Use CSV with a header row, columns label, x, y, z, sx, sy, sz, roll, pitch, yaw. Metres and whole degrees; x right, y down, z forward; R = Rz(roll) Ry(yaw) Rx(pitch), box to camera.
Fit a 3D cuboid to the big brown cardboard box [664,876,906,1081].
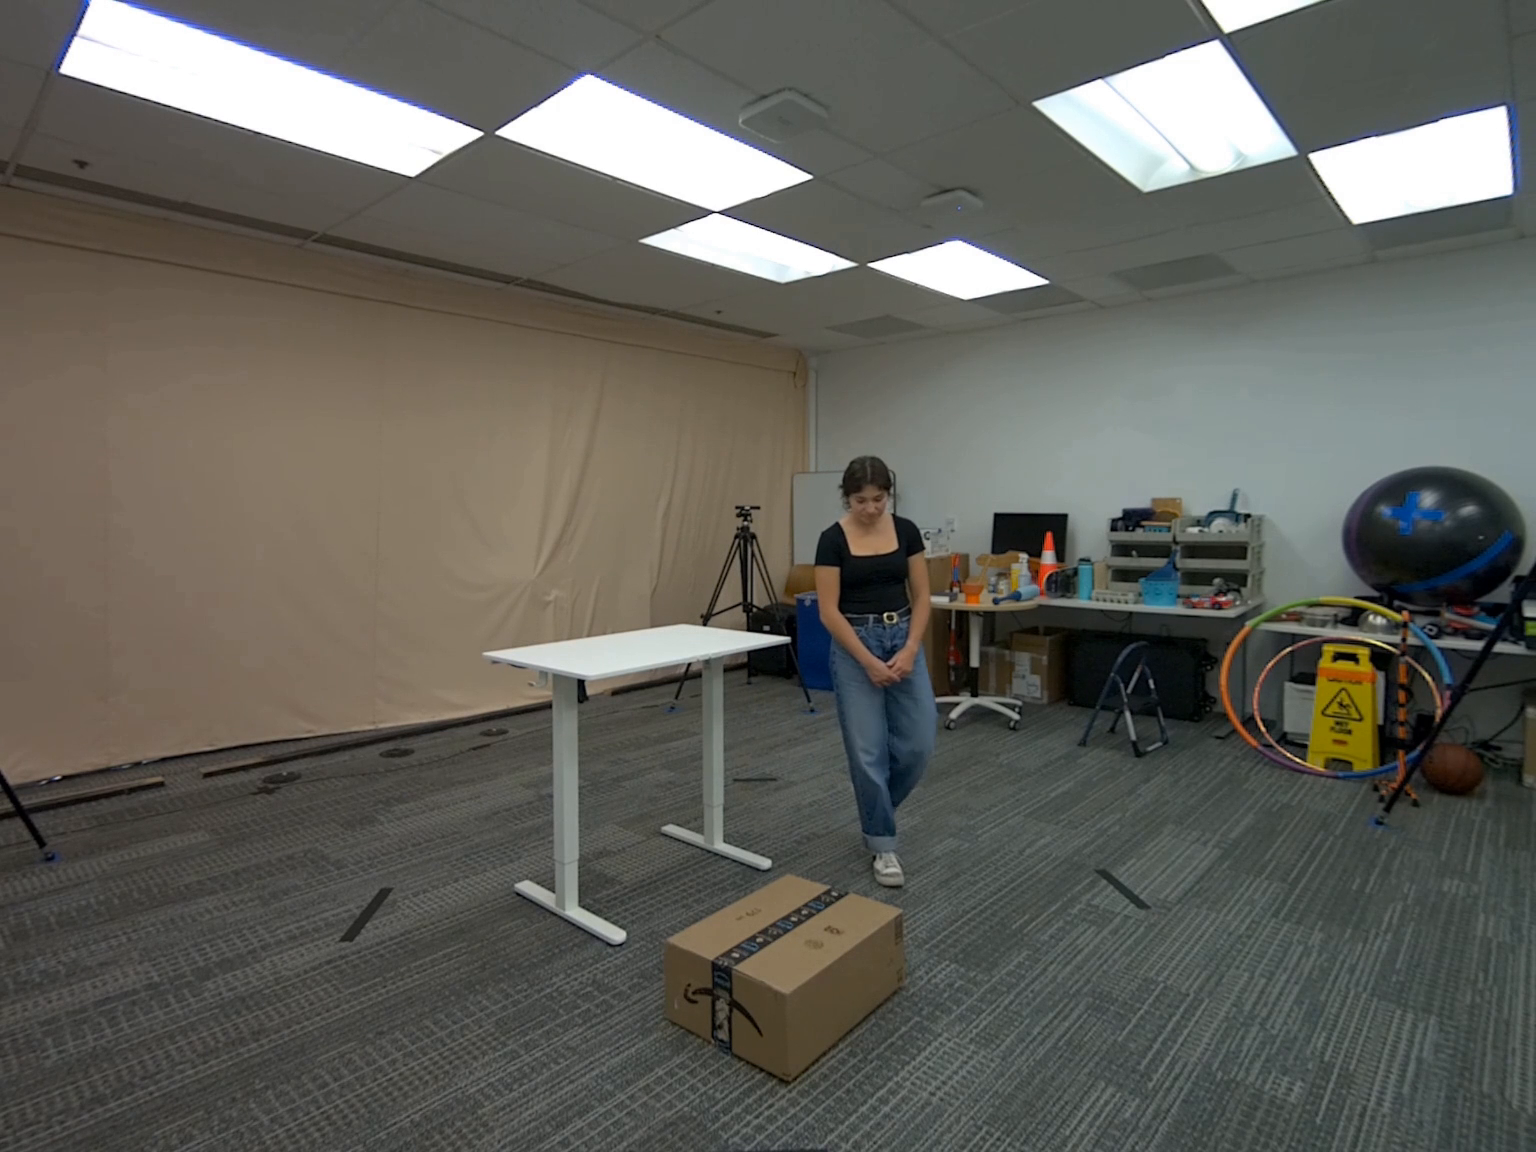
label,x,y,z,sx,sy,sz,roll,pitch,yaw
big brown cardboard box,0.058,1.086,2.352,0.431,0.232,0.571,2,6,40
